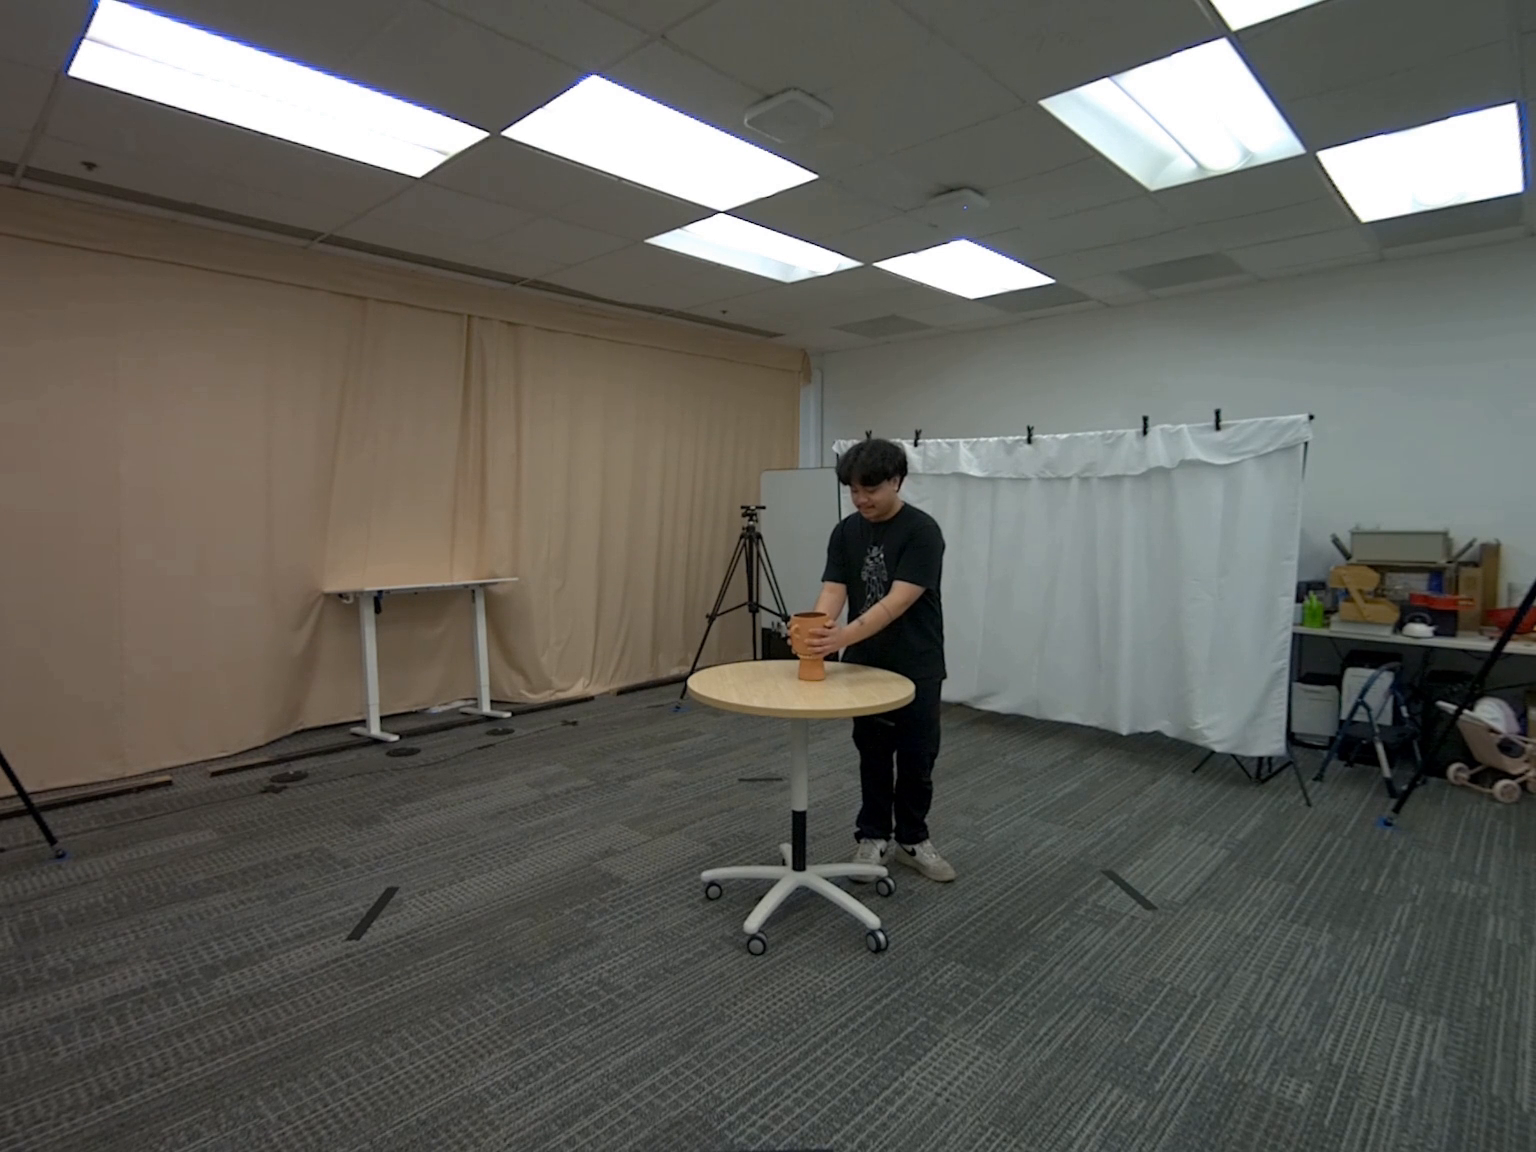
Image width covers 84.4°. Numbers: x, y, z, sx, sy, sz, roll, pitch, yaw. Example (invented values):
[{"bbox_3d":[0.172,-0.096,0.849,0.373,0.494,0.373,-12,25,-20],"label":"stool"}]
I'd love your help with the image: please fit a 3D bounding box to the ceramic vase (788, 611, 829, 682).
[{"bbox_3d":[0.152,0.245,2.910,0.158,0.219,0.136,-2,6,-5],"label":"ceramic vase"}]
